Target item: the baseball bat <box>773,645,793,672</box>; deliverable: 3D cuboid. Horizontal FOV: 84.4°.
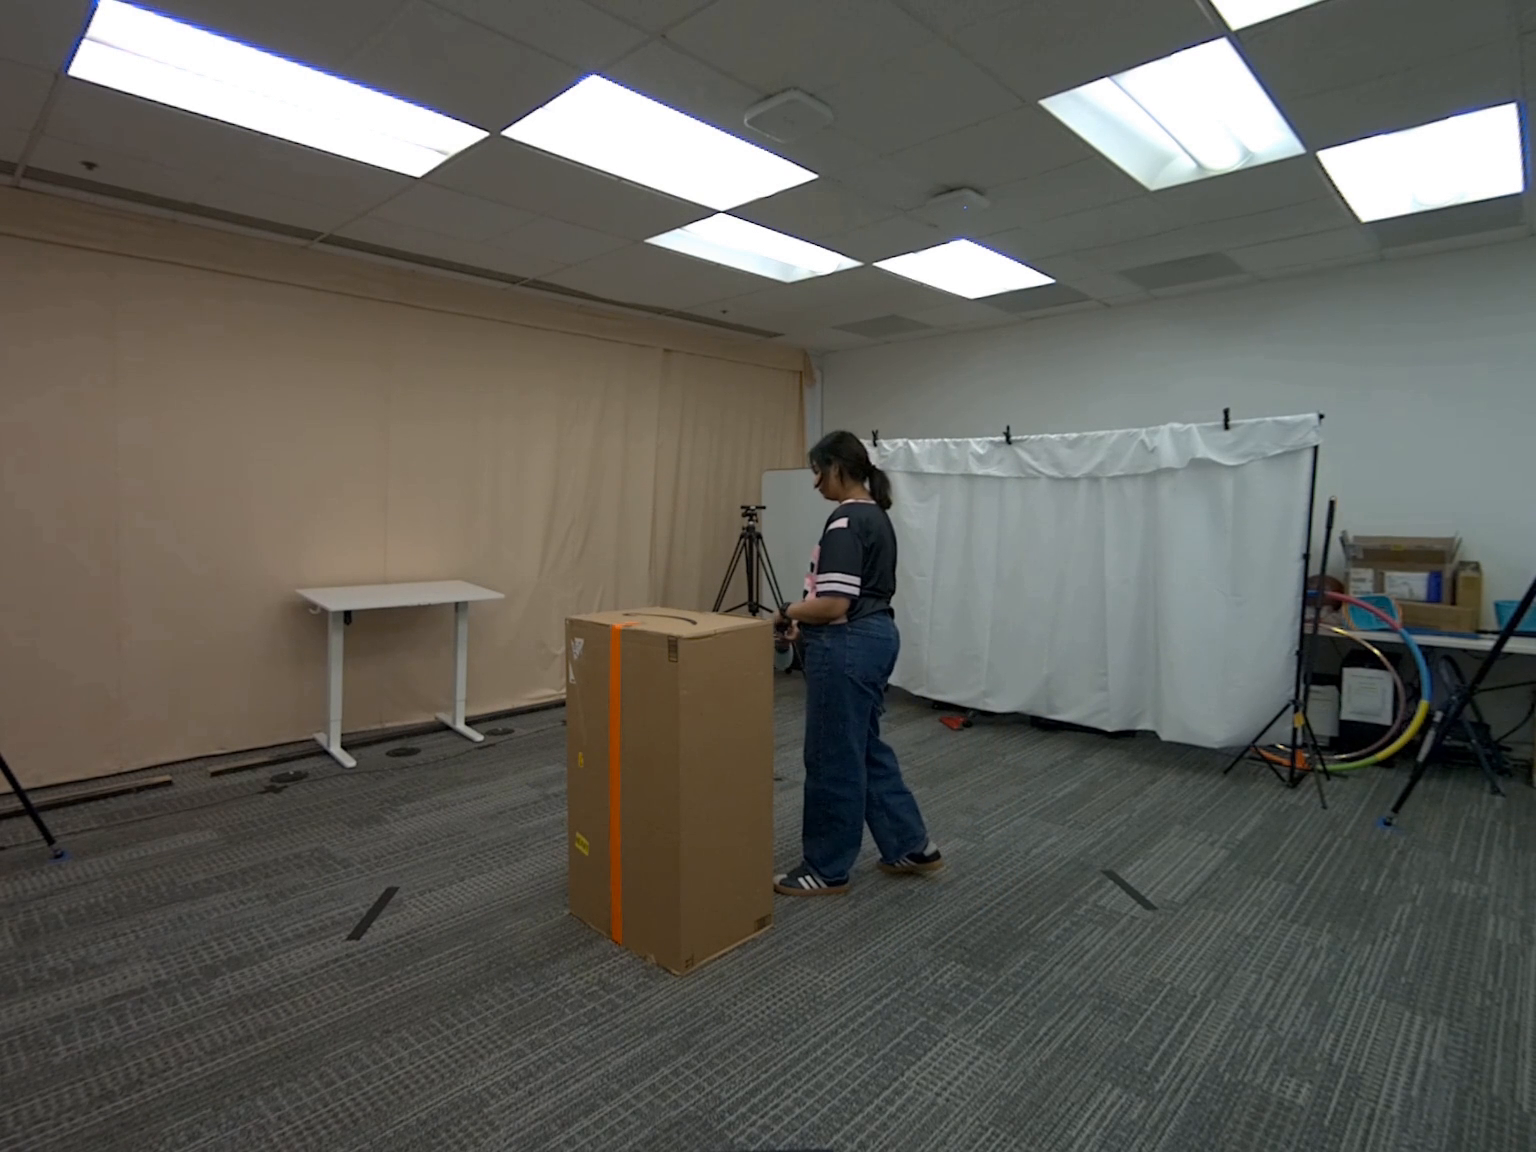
[{"bbox_3d":[0.067,0.281,3.371,0.089,0.090,0.535,1,-19,1],"label":"baseball bat"}]
